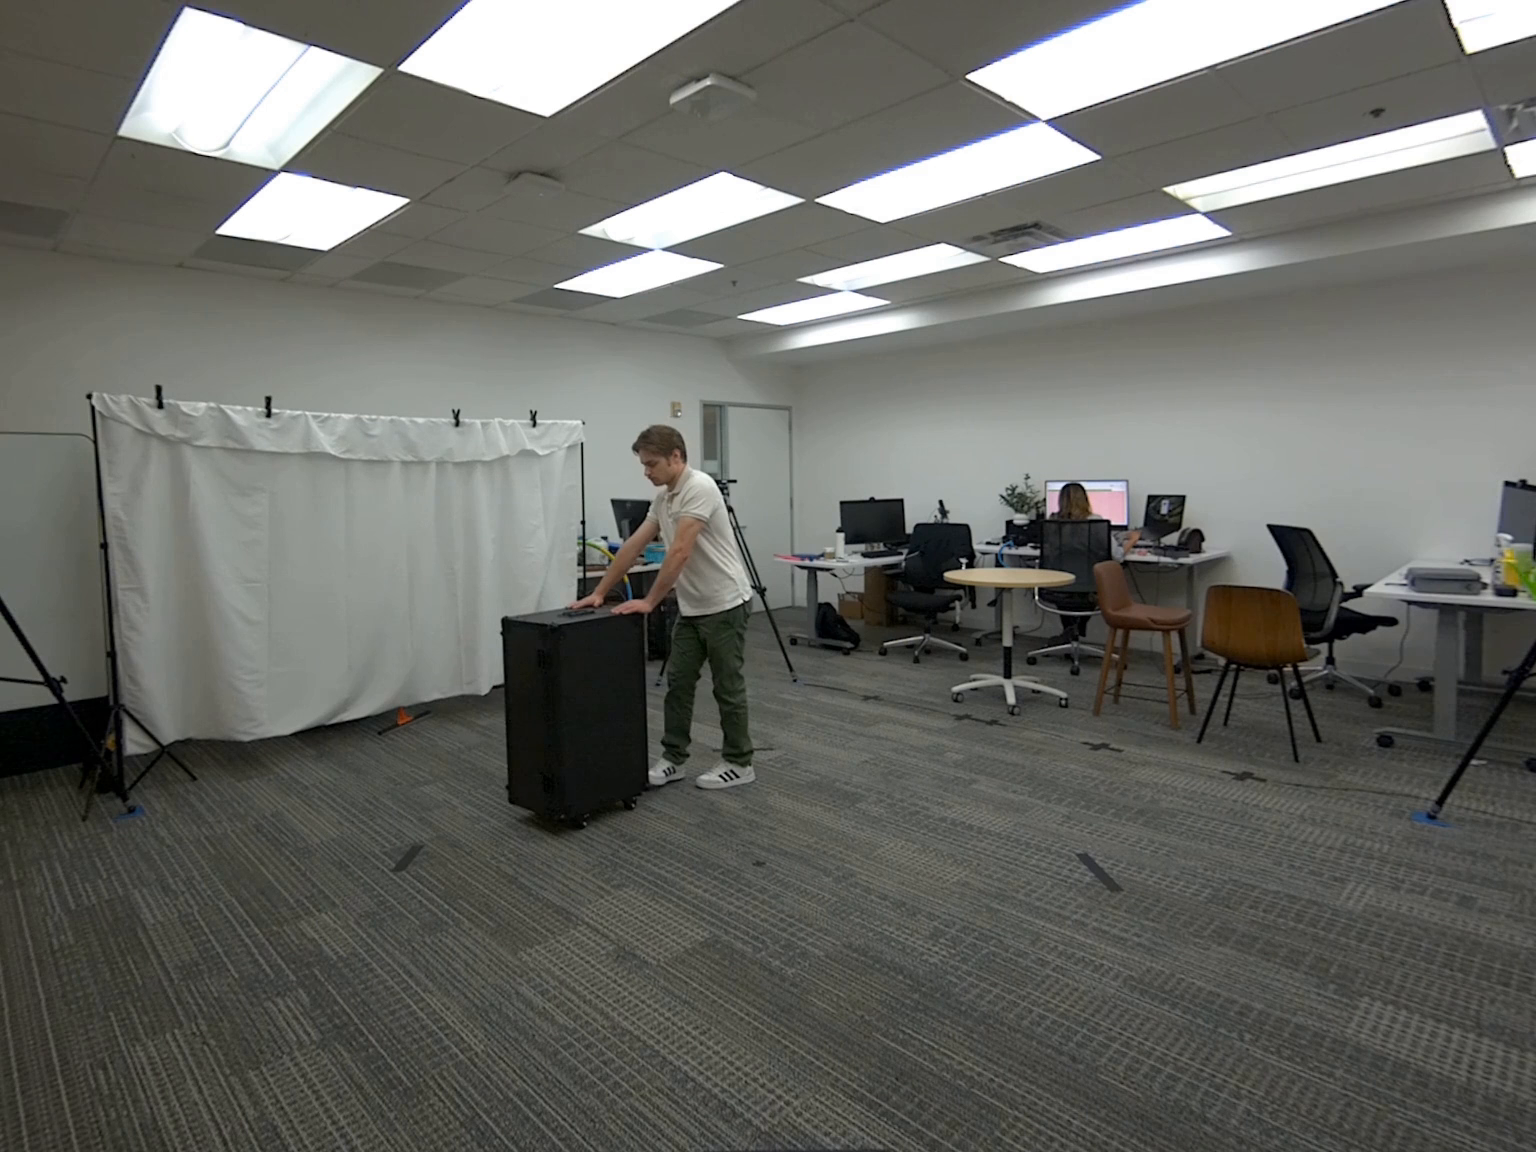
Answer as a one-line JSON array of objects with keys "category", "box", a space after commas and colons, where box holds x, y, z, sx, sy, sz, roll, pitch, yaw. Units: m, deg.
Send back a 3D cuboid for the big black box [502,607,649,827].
[{"category": "big black box", "box": [-0.813, 0.586, 3.605, 0.396, 0.866, 0.509, 2, 4, 40]}]
